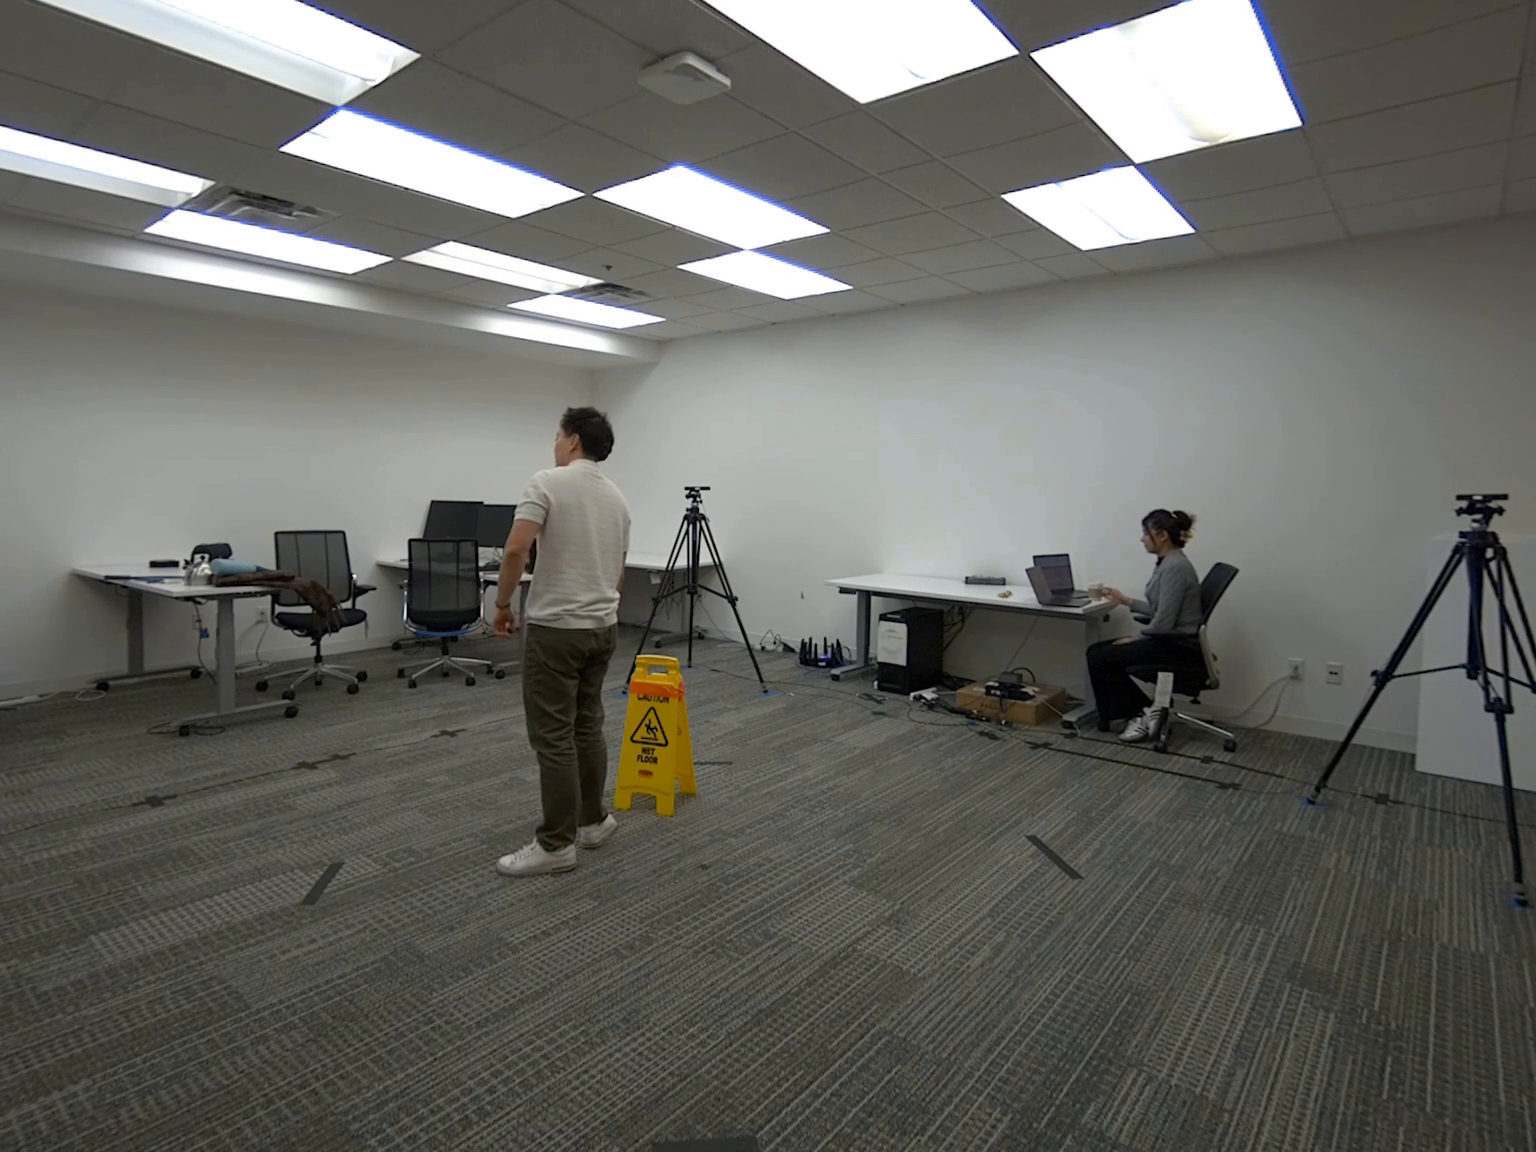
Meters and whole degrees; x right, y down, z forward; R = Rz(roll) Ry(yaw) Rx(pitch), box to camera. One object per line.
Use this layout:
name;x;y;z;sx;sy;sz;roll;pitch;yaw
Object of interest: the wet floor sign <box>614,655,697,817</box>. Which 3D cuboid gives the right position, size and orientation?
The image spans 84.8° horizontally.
wet floor sign;-0.508;0.675;3.763;0.288;0.644;0.285;1;3;18
